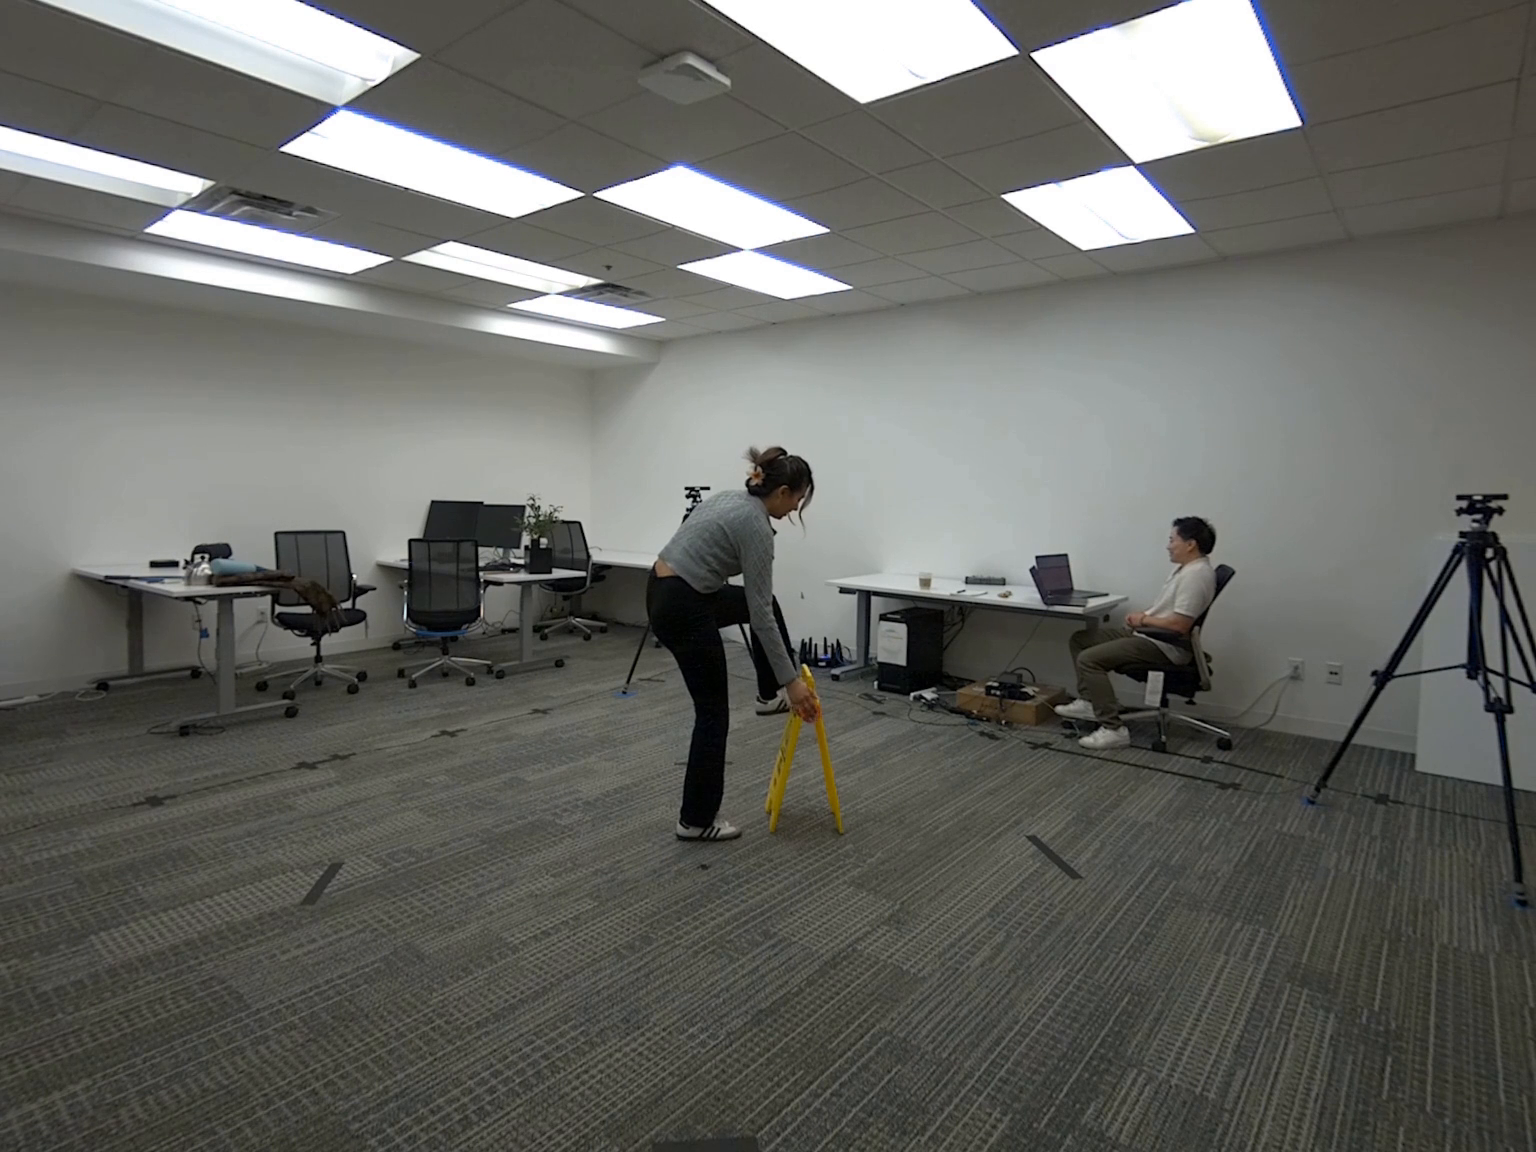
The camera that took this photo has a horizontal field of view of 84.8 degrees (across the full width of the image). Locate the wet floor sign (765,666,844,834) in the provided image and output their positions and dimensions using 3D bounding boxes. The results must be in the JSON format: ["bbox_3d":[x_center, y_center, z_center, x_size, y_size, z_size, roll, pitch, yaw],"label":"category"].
[{"bbox_3d":[0.150,0.699,3.538,0.289,0.642,0.285,2,7,-3],"label":"wet floor sign"}]
